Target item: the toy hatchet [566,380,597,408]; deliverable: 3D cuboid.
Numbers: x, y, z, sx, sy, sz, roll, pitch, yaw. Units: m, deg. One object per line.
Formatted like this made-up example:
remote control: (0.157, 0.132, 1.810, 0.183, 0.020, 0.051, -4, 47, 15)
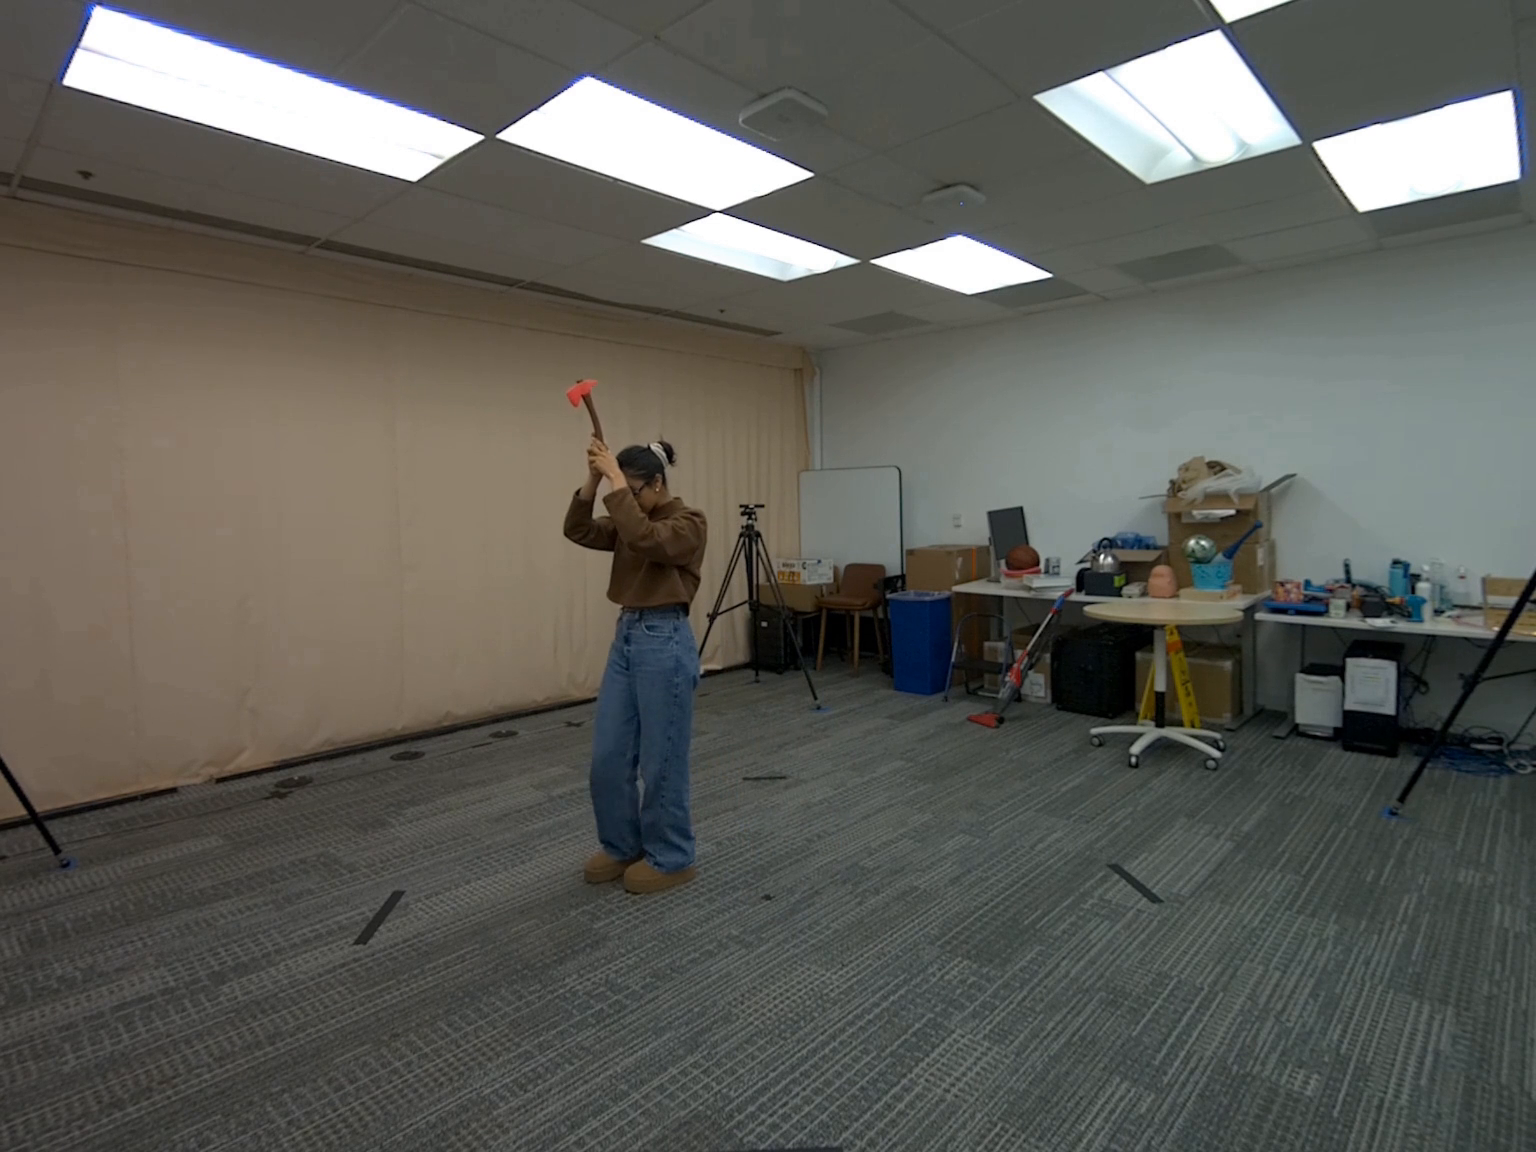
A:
toy hatchet: (-0.618, -0.538, 2.870, 0.127, 0.269, 0.030, -10, 6, -44)
